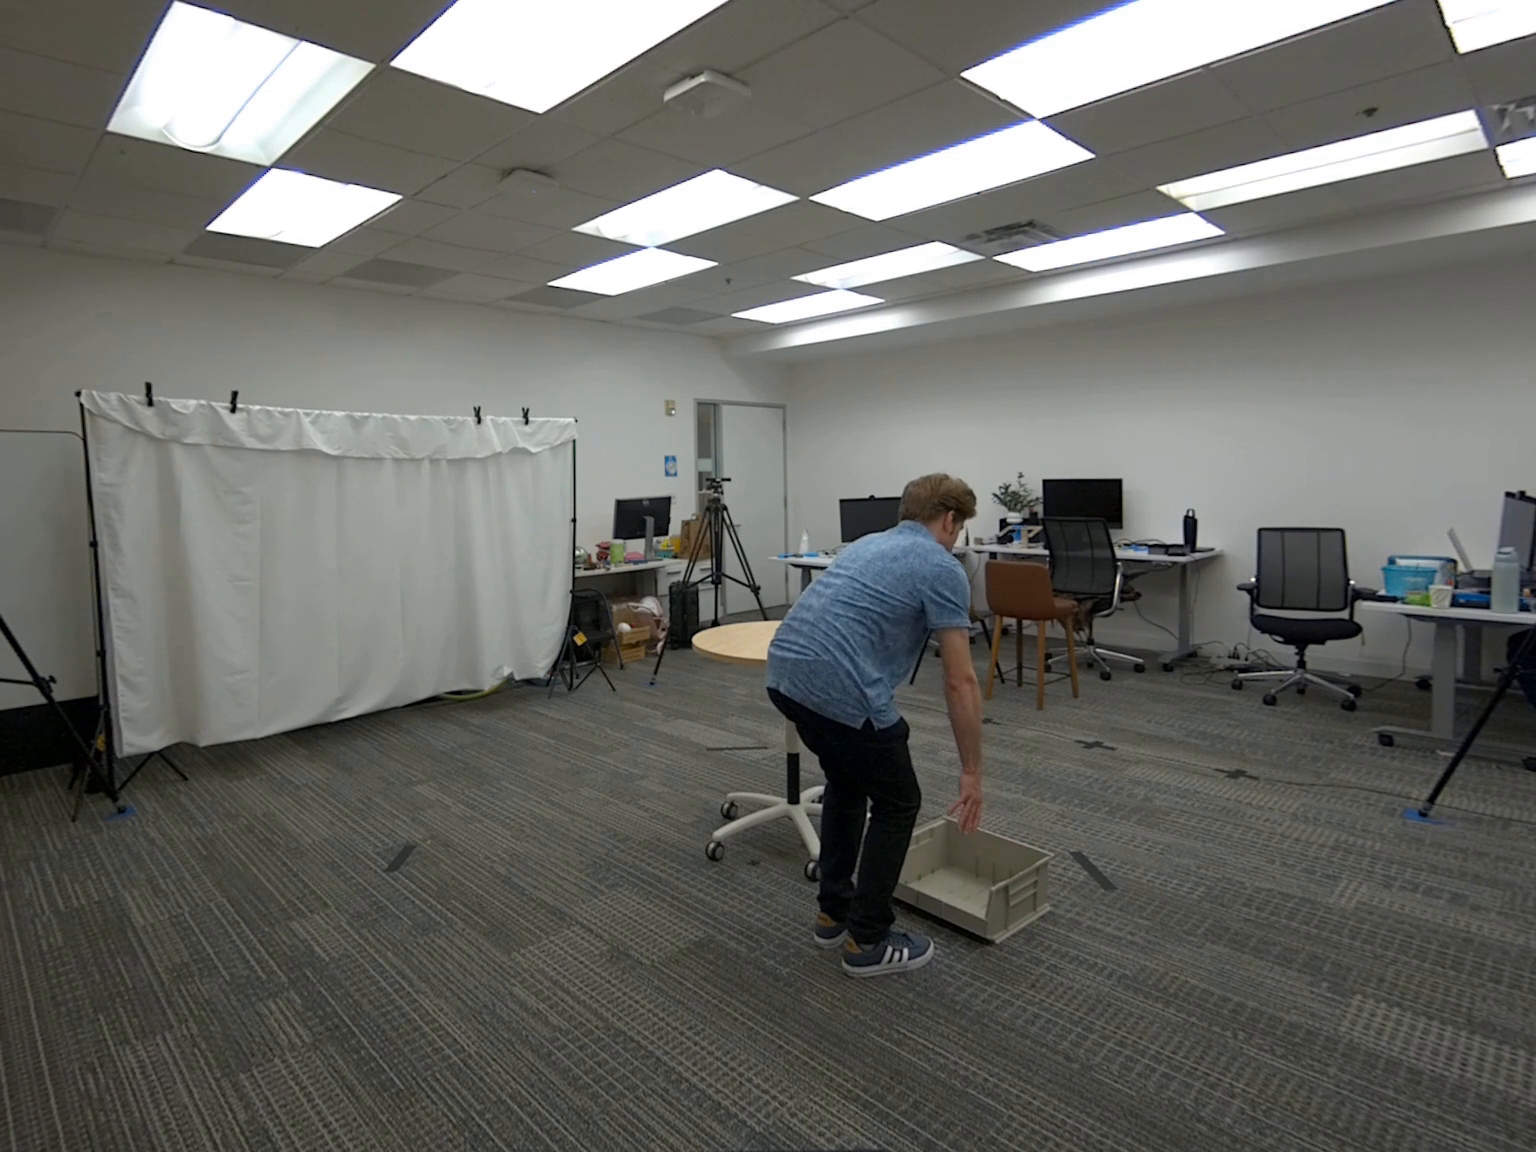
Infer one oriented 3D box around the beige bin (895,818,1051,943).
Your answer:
[{"bbox_3d":[0.642,0.984,2.774,0.367,0.188,0.435,-5,7,-41],"label":"beige bin"}]
